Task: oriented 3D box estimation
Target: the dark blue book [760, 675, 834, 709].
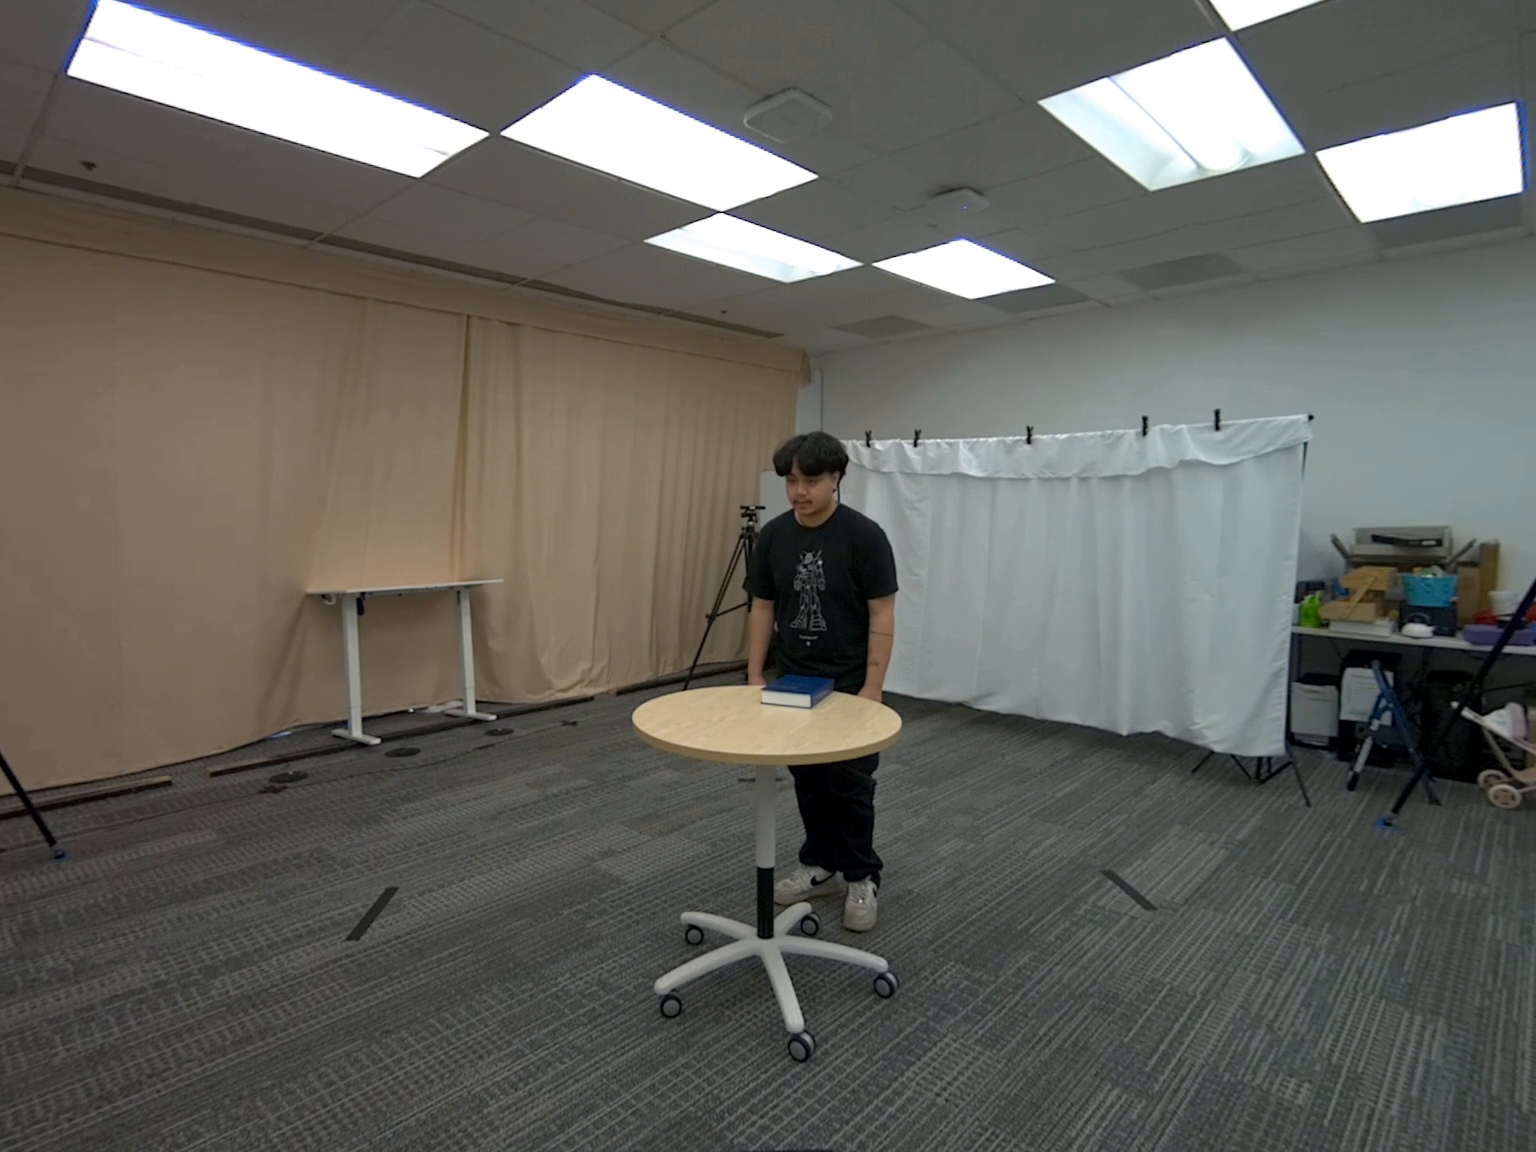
[{"bbox_3d":[0.090,0.359,2.629,0.167,0.045,0.240,1,5,22],"label":"dark blue book"}]
